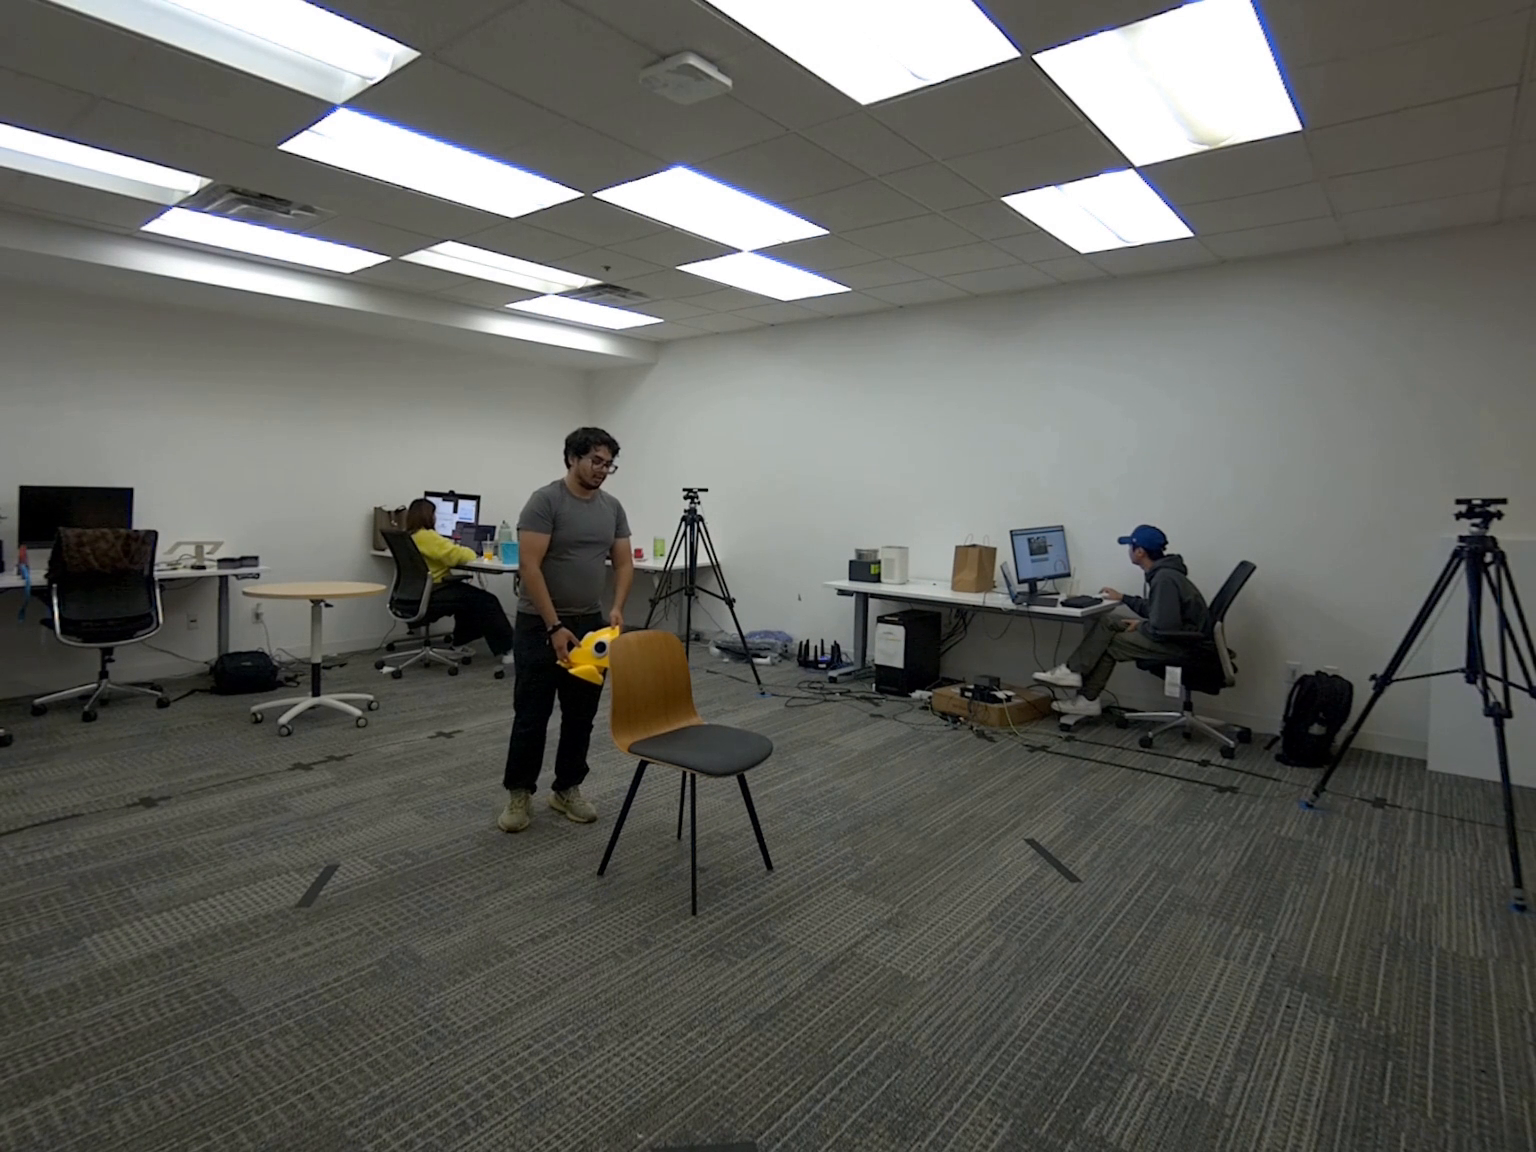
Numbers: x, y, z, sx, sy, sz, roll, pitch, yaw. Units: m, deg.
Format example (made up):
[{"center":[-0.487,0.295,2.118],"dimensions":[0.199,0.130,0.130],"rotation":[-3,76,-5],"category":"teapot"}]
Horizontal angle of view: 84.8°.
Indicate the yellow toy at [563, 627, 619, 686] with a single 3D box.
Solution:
[{"center":[-0.720,0.283,3.356],"dimensions":[0.186,0.231,0.212],"rotation":[29,-6,-35],"category":"yellow toy"}]
